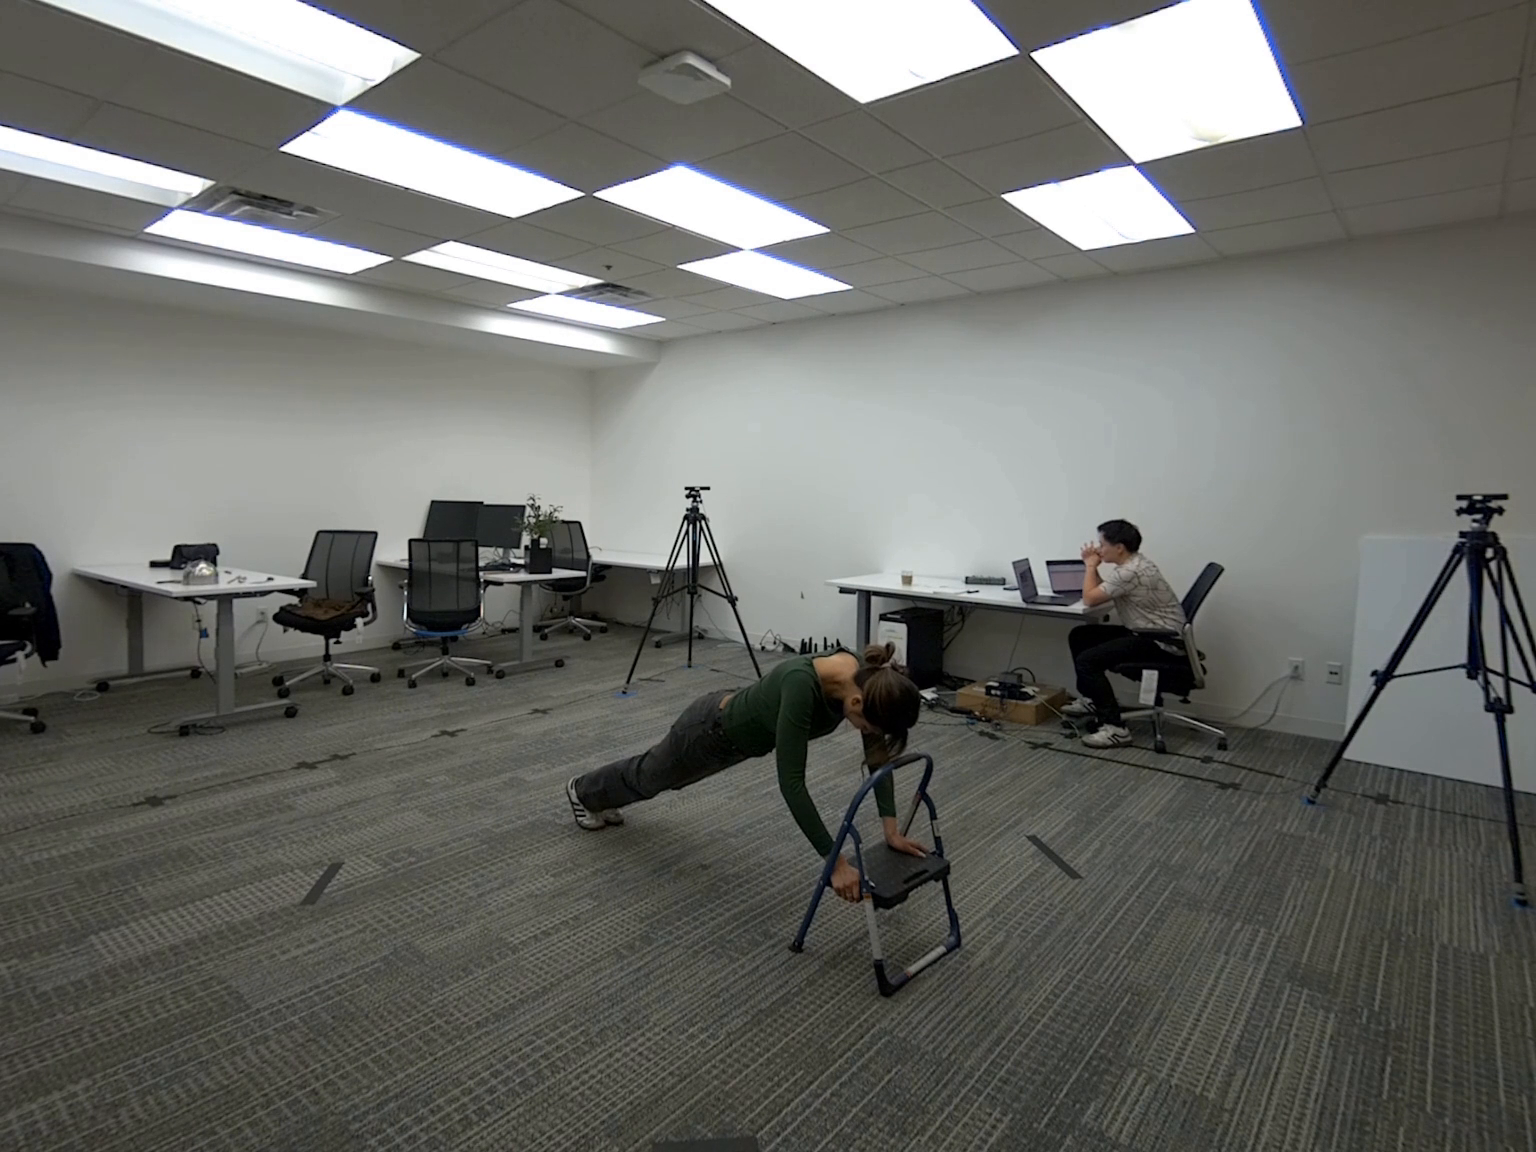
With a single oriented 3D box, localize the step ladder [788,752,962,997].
[{"bbox_3d":[0.333,0.827,2.578,0.361,0.604,0.417,5,5,43],"label":"step ladder"}]
